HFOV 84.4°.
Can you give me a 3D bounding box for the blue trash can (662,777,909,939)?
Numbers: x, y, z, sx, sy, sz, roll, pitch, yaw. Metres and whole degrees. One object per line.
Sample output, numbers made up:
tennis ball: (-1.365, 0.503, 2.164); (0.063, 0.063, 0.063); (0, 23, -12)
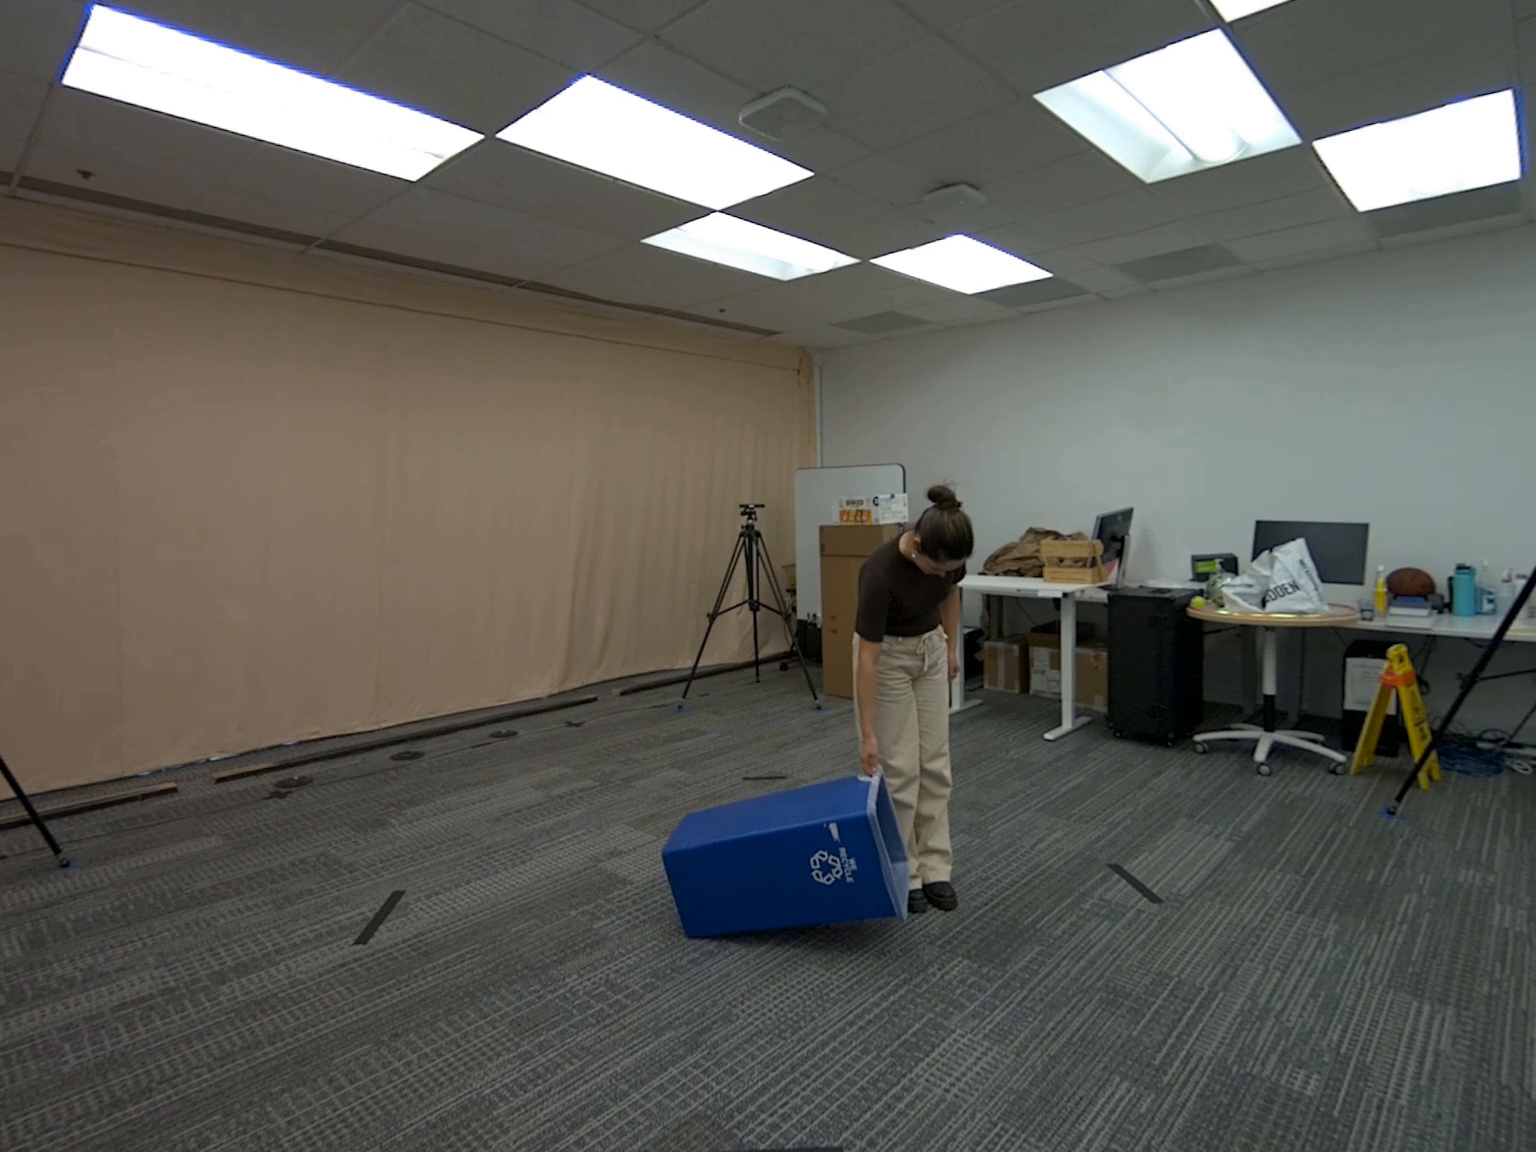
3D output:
blue trash can: (0.068, 0.916, 2.759); (0.724, 0.373, 0.373); (-16, 3, 17)
